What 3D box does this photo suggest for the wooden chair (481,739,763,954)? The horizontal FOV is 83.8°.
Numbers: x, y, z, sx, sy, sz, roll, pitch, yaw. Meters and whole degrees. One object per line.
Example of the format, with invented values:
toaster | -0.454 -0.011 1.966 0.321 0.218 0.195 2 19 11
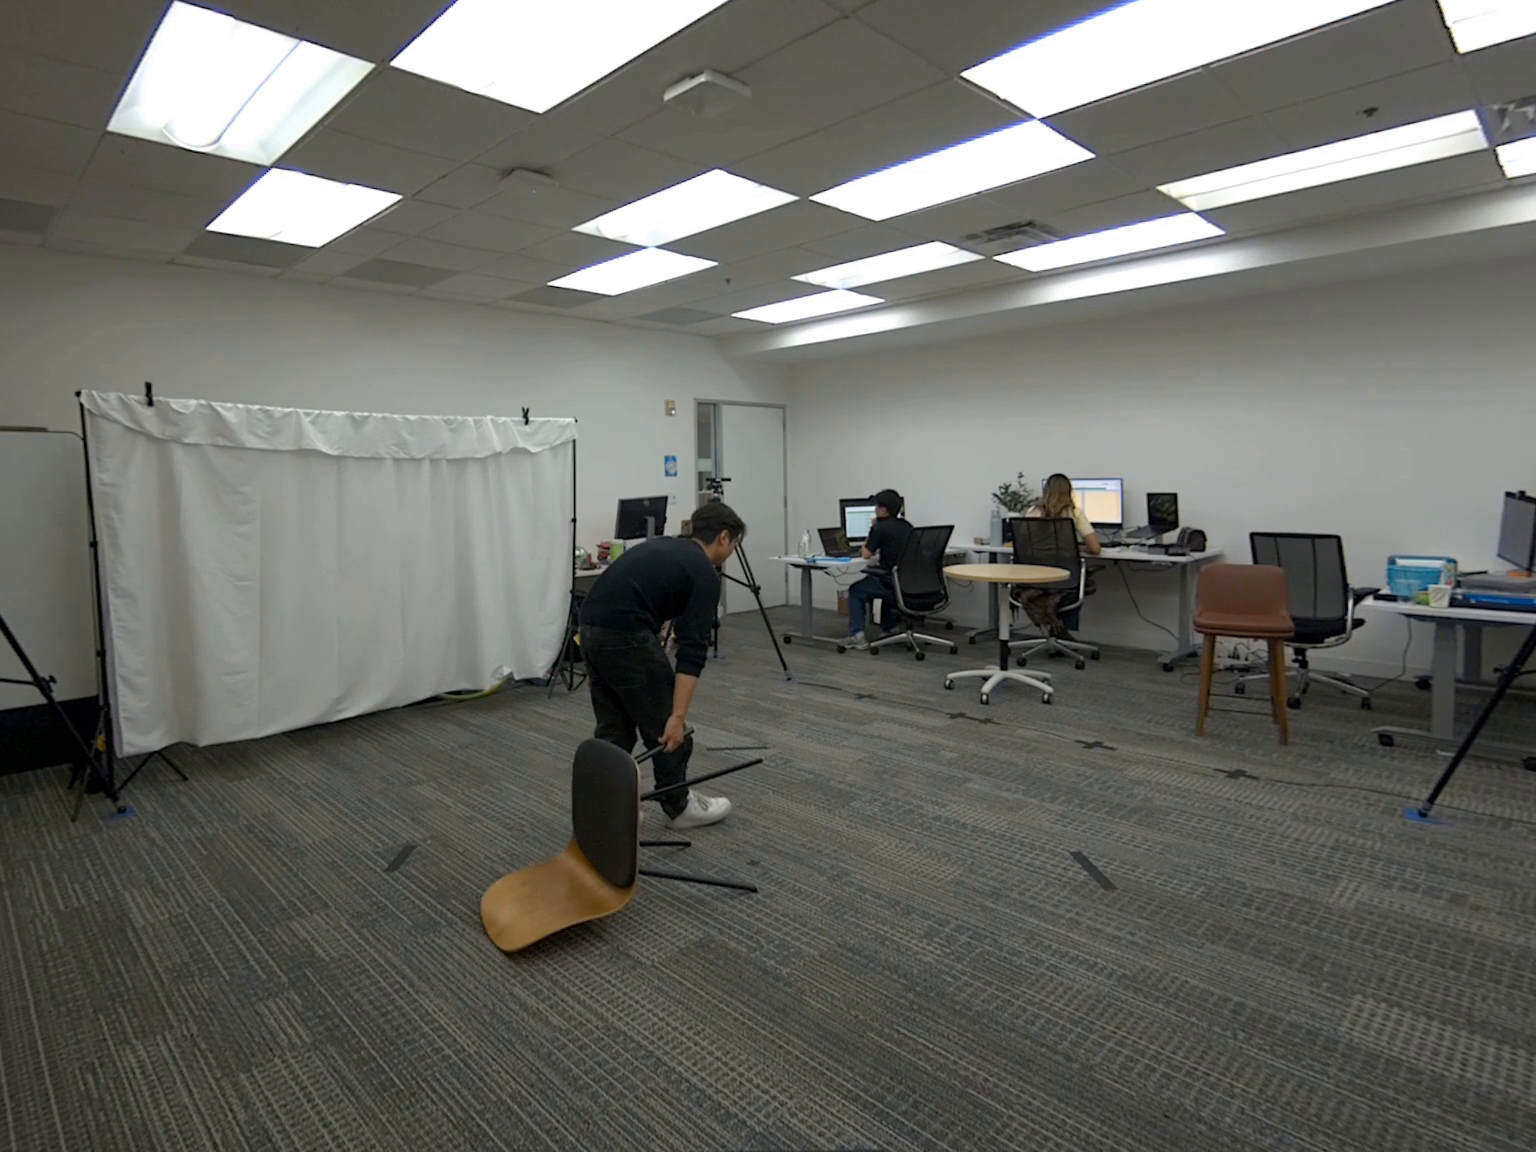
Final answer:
wooden chair | -0.505 0.826 2.832 0.856 0.521 0.492 -6 7 -34
